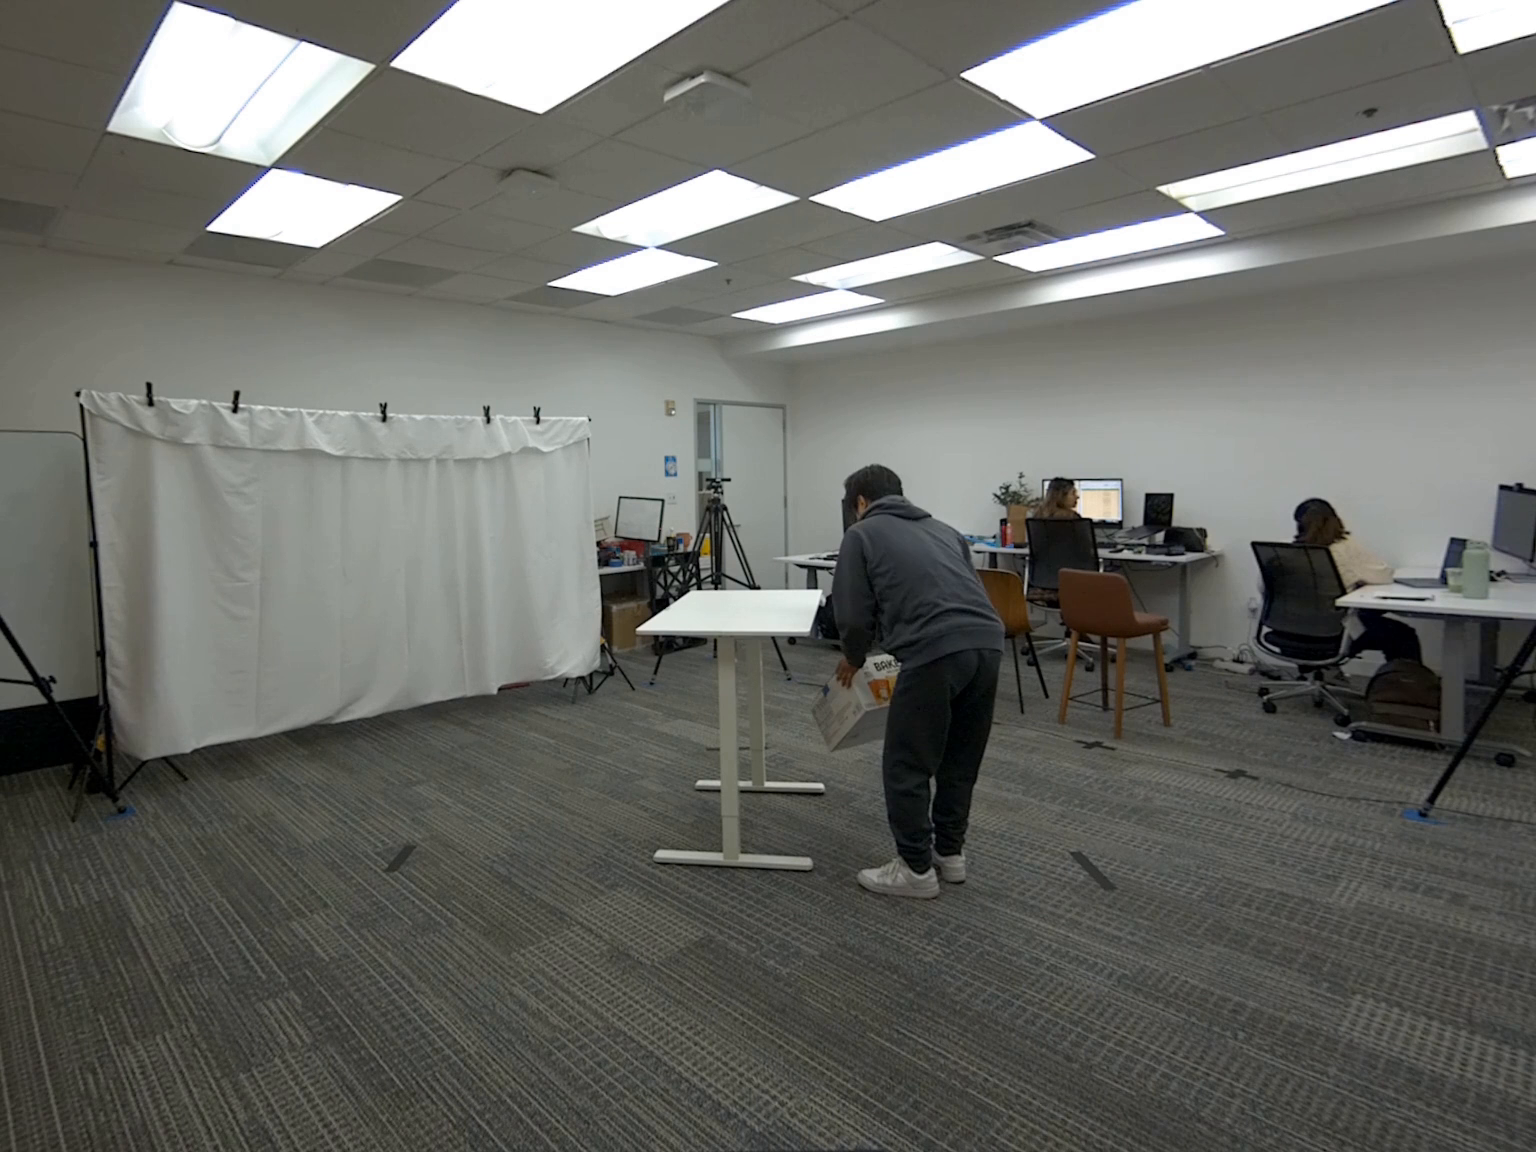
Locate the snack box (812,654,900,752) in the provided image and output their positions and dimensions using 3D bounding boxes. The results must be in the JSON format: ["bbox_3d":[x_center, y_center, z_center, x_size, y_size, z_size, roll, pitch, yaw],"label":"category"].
[{"bbox_3d":[0.432,0.479,3.313,0.396,0.212,0.336,-7,-35,-29],"label":"snack box"}]
